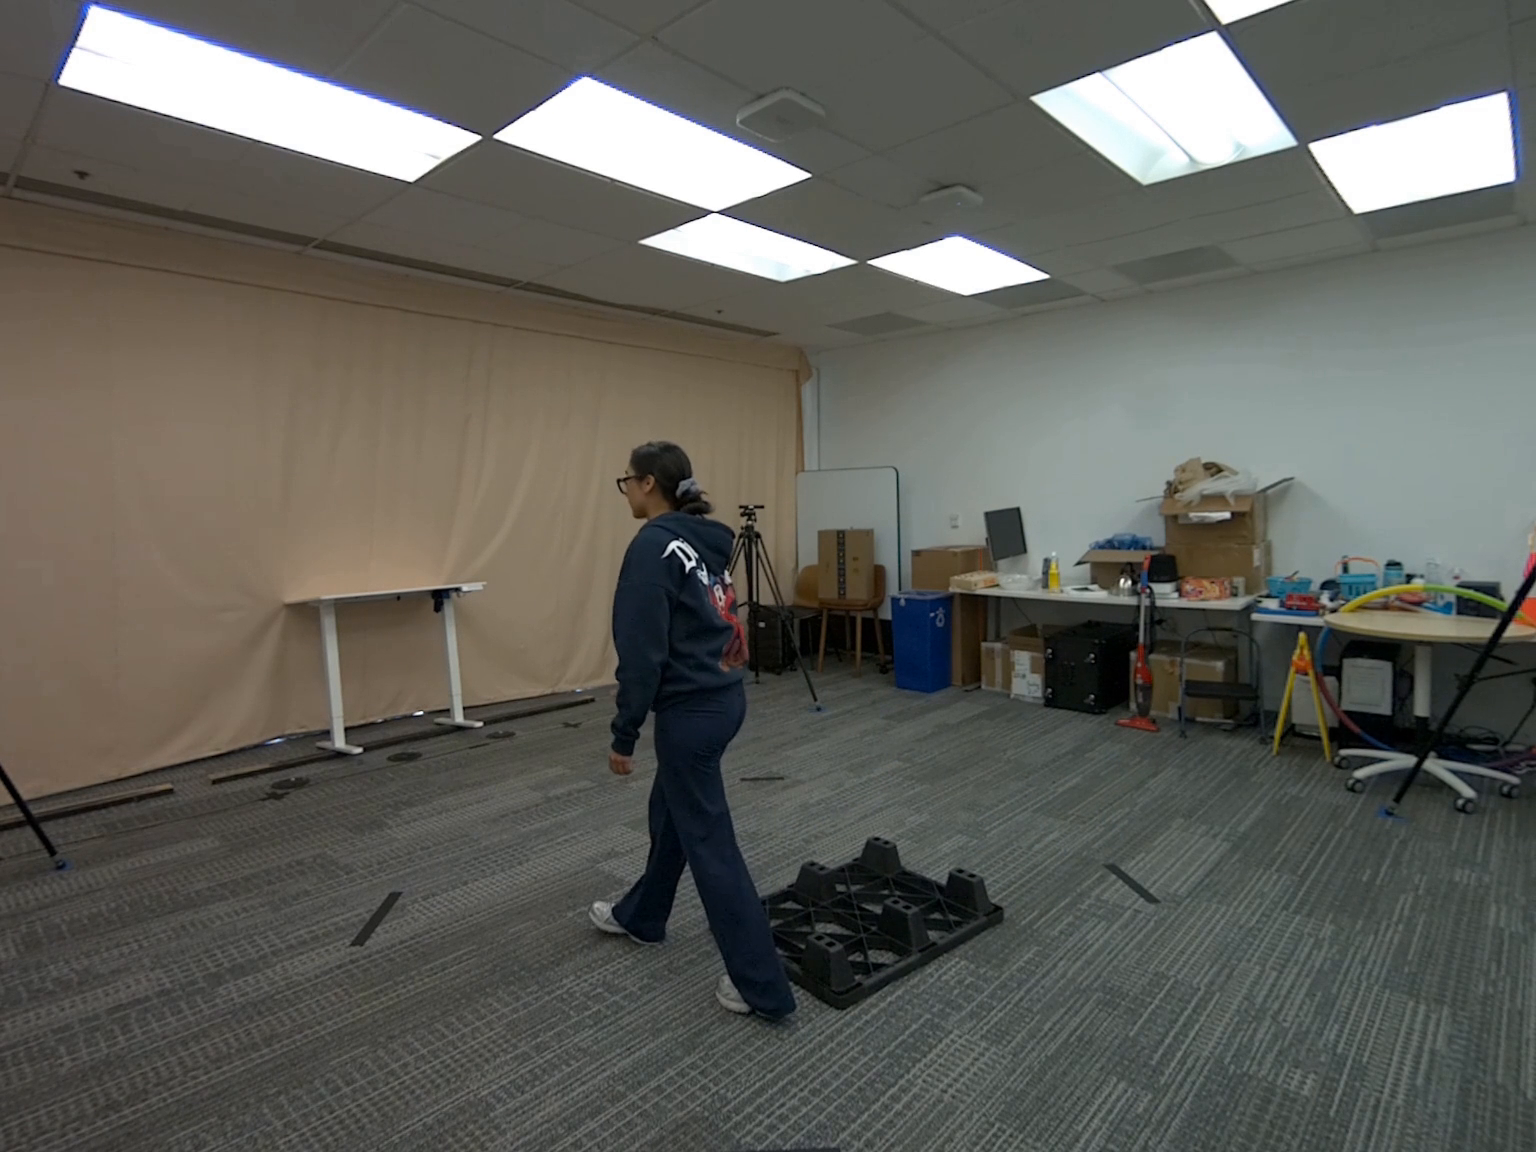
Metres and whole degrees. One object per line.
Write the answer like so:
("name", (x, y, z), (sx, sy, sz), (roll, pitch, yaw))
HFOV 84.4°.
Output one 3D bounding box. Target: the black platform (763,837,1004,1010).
("black platform", (0.298, 1.086, 2.783), (0.781, 0.143, 0.625), (-5, 7, -40))
